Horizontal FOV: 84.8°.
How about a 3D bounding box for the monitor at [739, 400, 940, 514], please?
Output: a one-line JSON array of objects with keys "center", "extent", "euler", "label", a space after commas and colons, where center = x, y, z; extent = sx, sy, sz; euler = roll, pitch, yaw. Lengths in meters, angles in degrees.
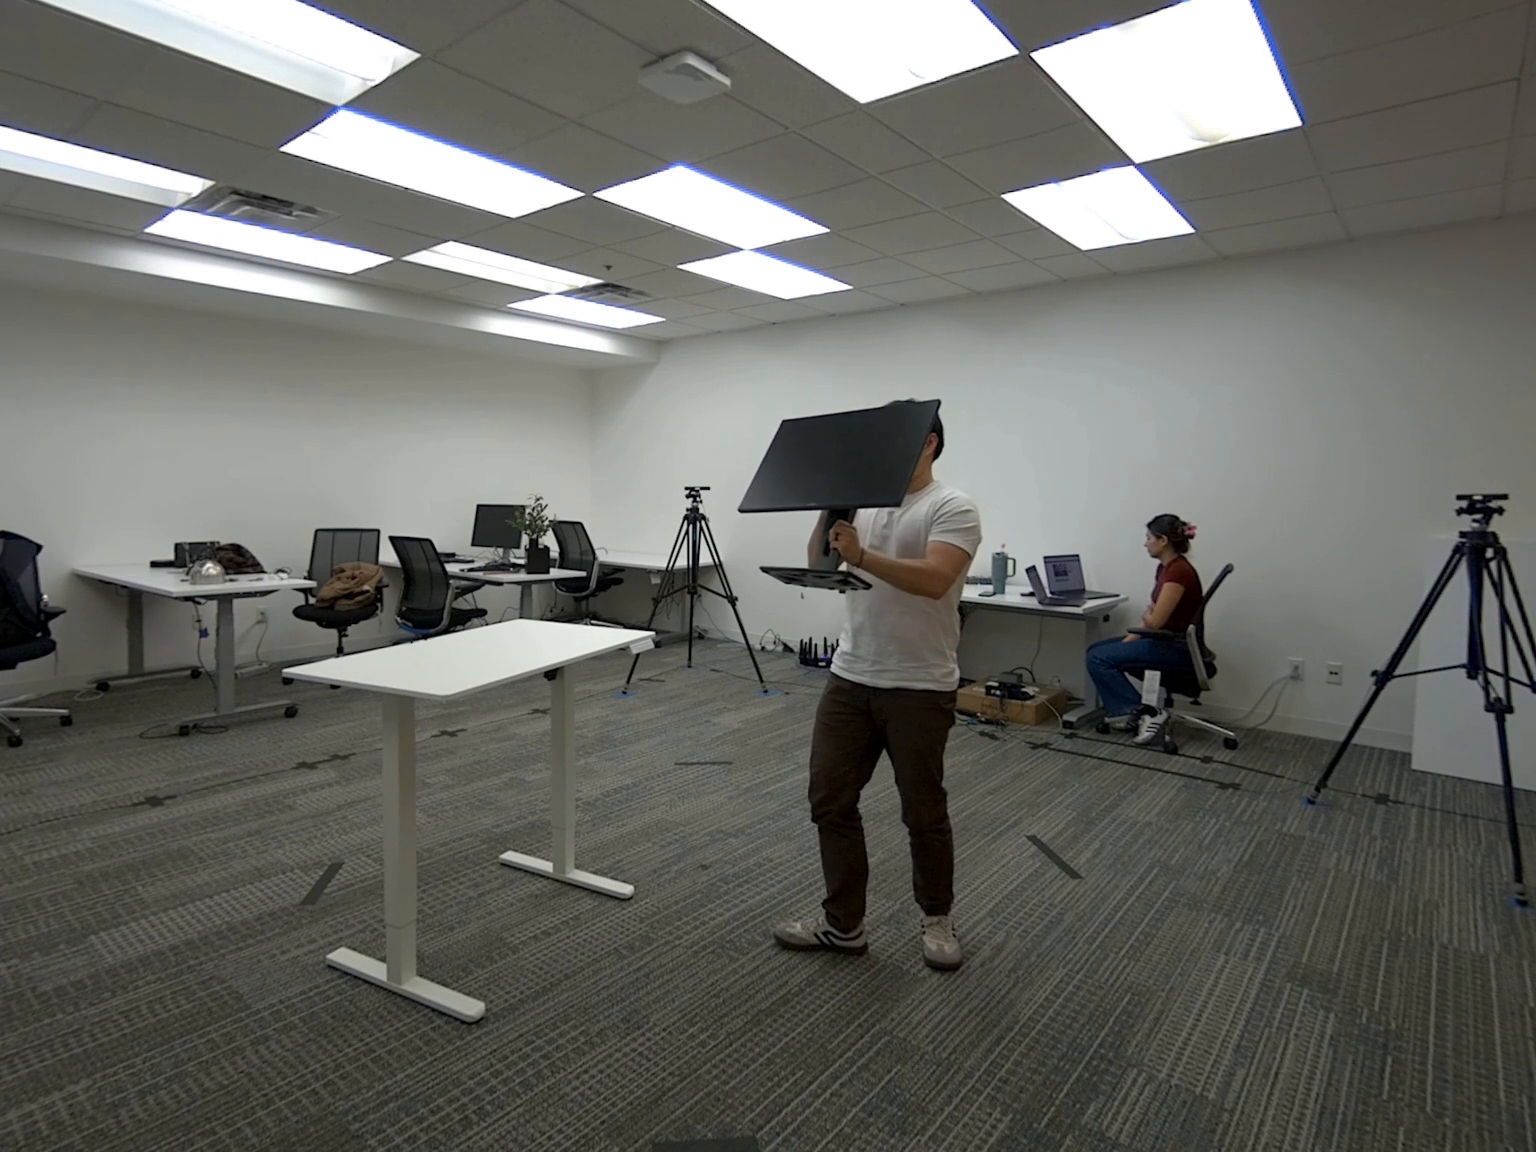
[{"center": [0.180, -0.230, 2.338], "extent": [0.556, 0.528, 0.179], "euler": [1, -22, 40], "label": "monitor"}]
